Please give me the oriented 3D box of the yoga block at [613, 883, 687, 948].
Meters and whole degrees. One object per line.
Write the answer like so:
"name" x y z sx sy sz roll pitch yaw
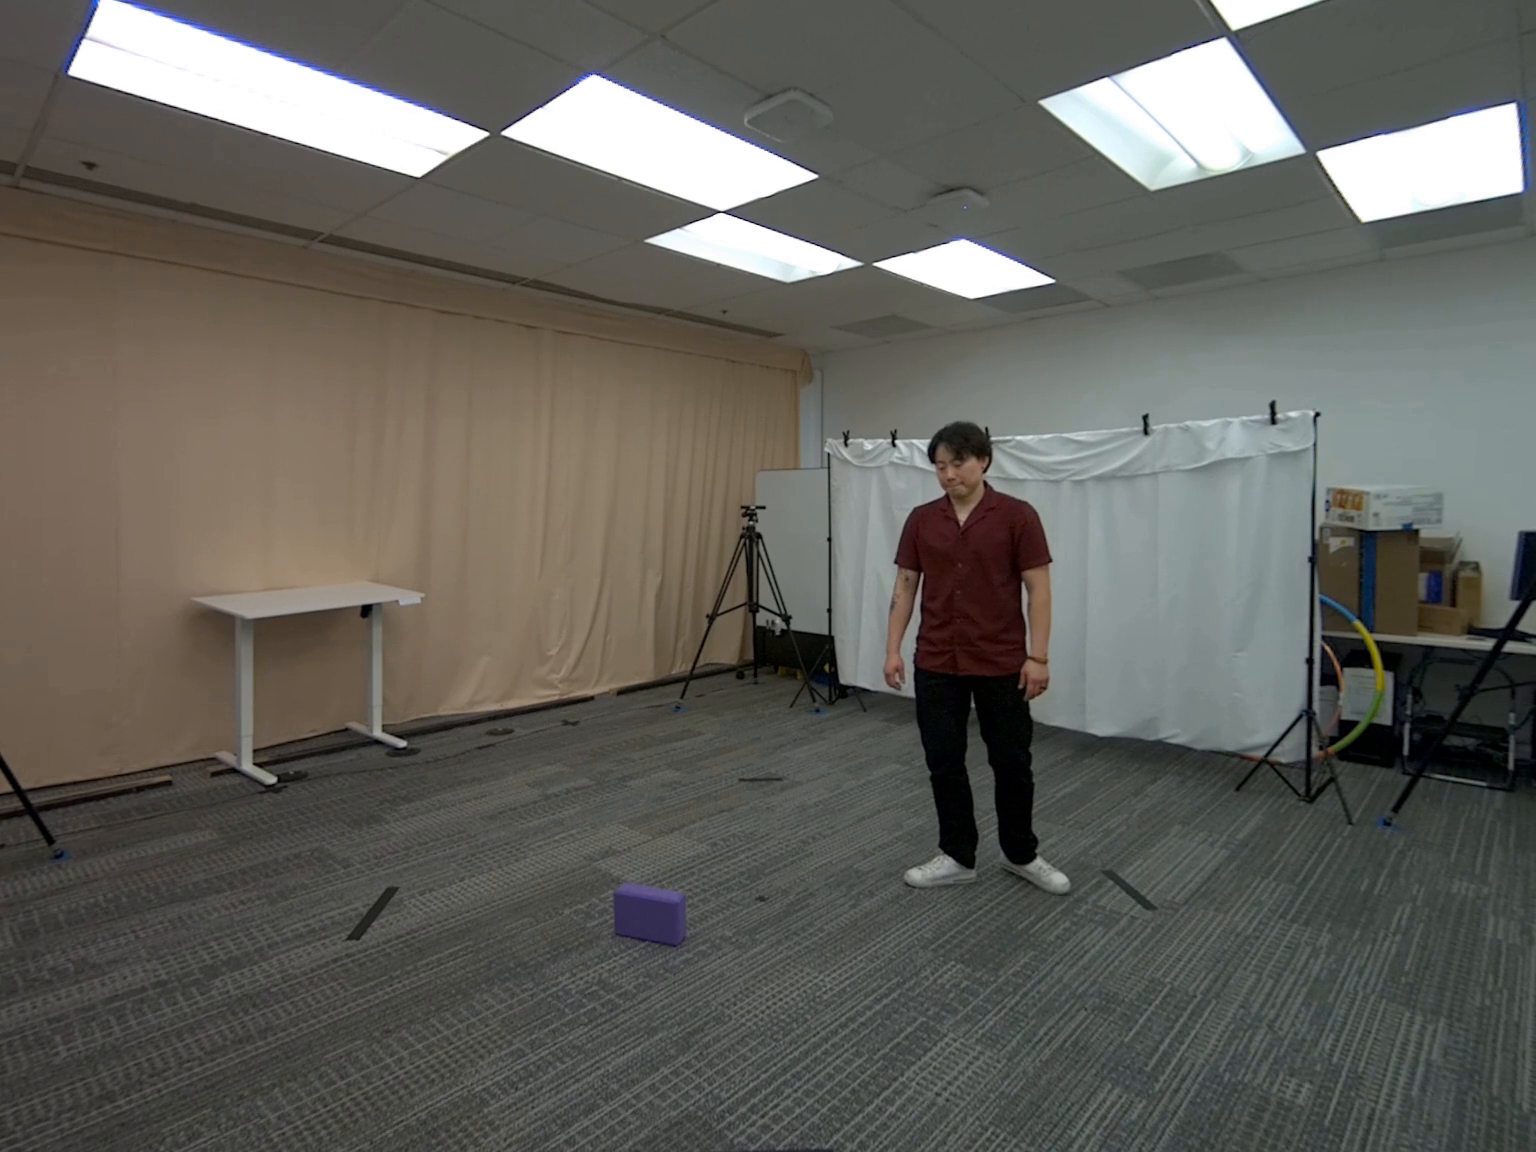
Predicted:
"yoga block" -0.379 1.091 2.722 0.234 0.148 0.075 1 4 20
